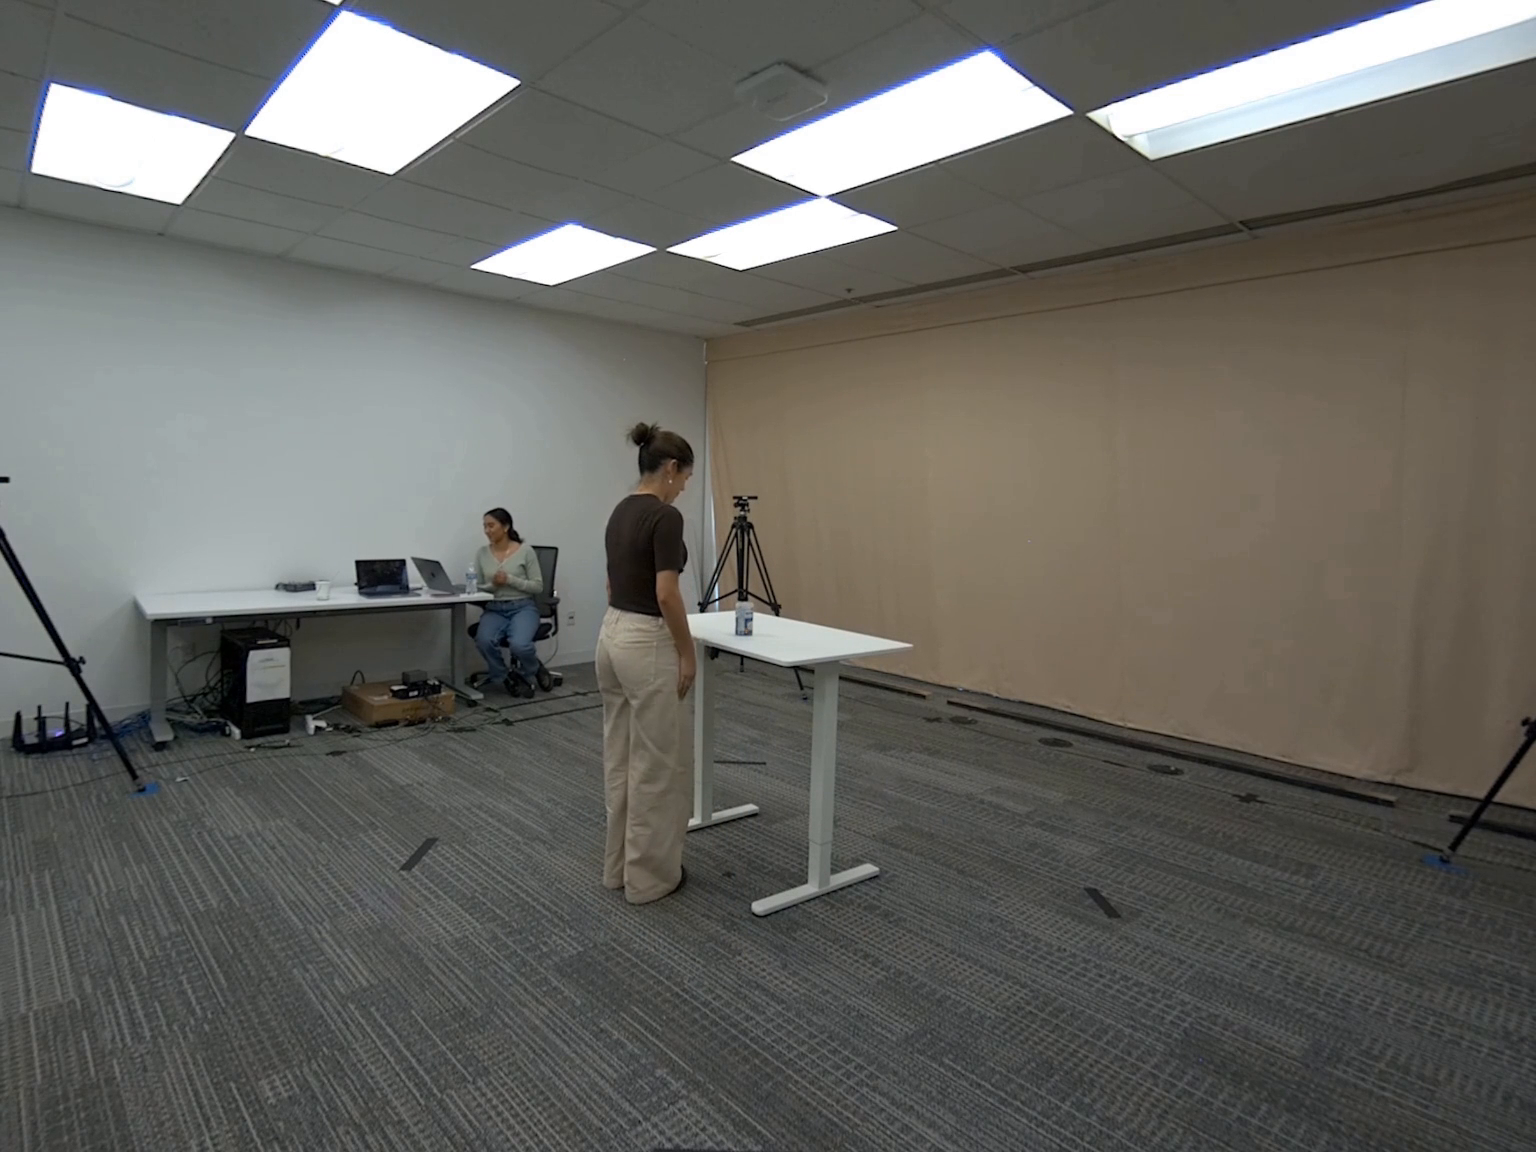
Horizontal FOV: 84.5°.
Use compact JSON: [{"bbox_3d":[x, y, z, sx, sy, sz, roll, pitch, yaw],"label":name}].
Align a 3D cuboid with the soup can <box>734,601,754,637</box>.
[{"bbox_3d":[-0.092,0.163,3.119,0.067,0.121,0.067,3,6,-2],"label":"soup can"}]
